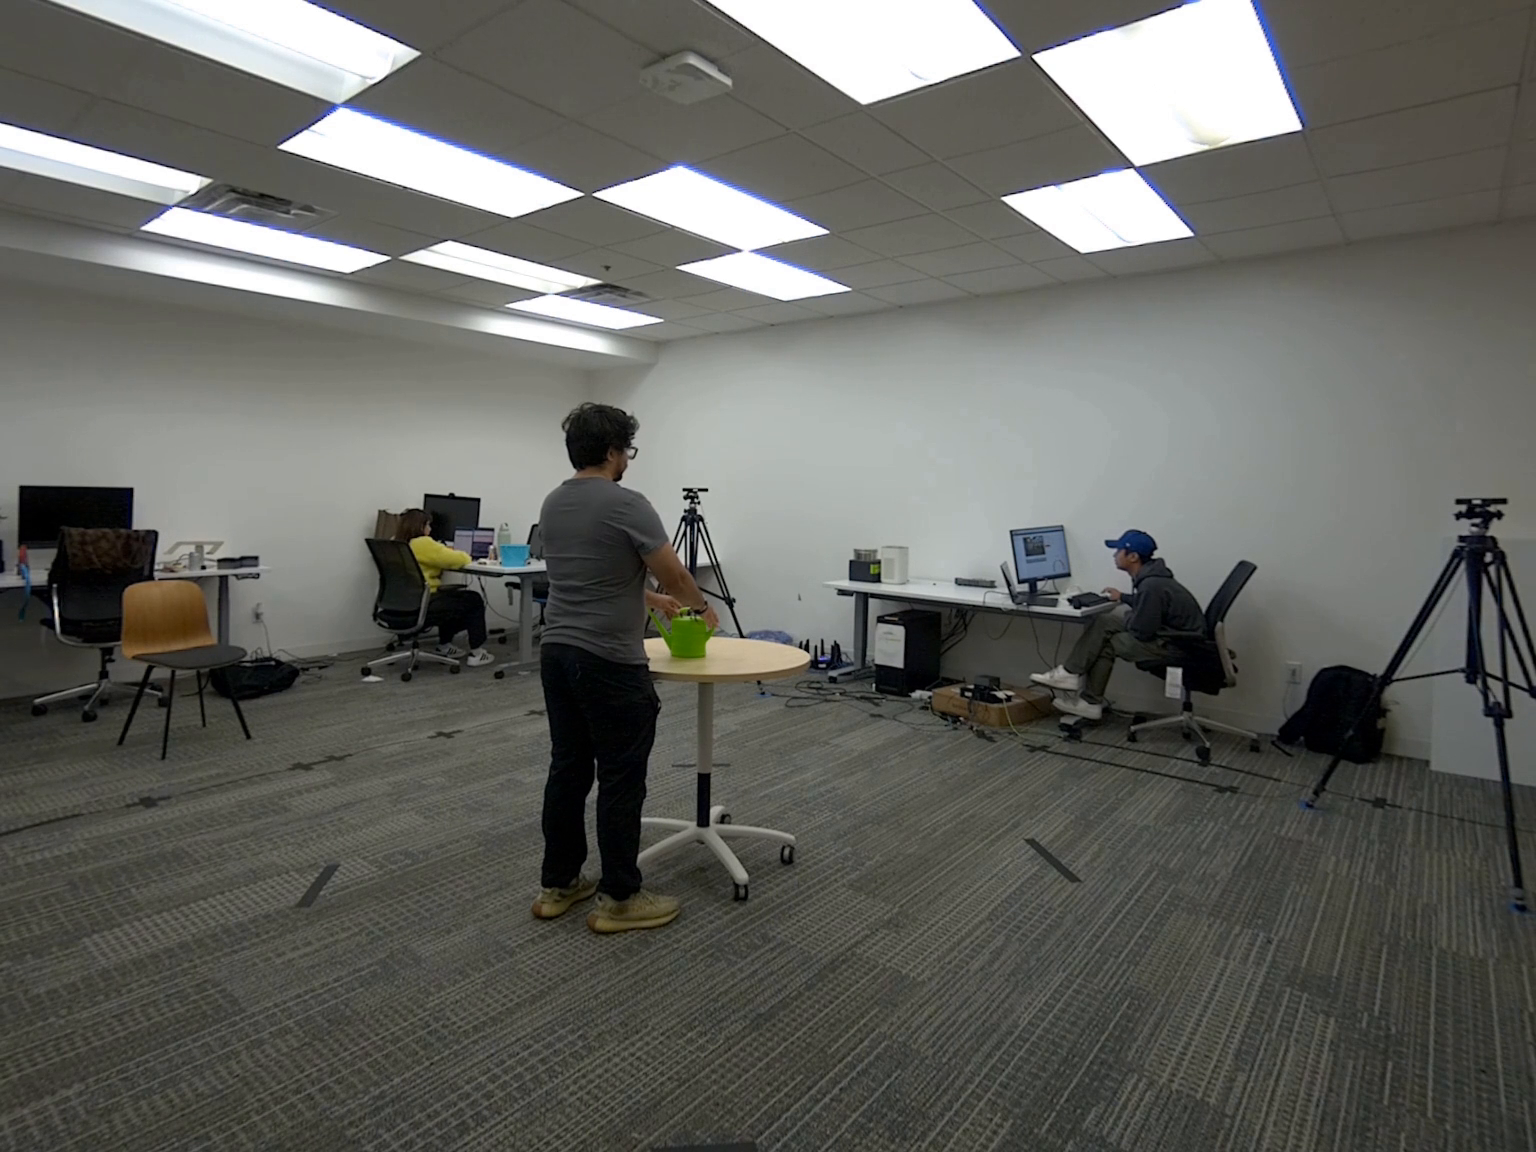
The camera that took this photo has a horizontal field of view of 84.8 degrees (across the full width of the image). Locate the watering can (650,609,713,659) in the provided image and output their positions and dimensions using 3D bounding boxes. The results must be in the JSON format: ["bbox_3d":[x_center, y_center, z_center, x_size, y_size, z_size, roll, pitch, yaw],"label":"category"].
[{"bbox_3d":[-0.340,0.204,3.099,0.282,0.176,0.097,3,5,13],"label":"watering can"}]
